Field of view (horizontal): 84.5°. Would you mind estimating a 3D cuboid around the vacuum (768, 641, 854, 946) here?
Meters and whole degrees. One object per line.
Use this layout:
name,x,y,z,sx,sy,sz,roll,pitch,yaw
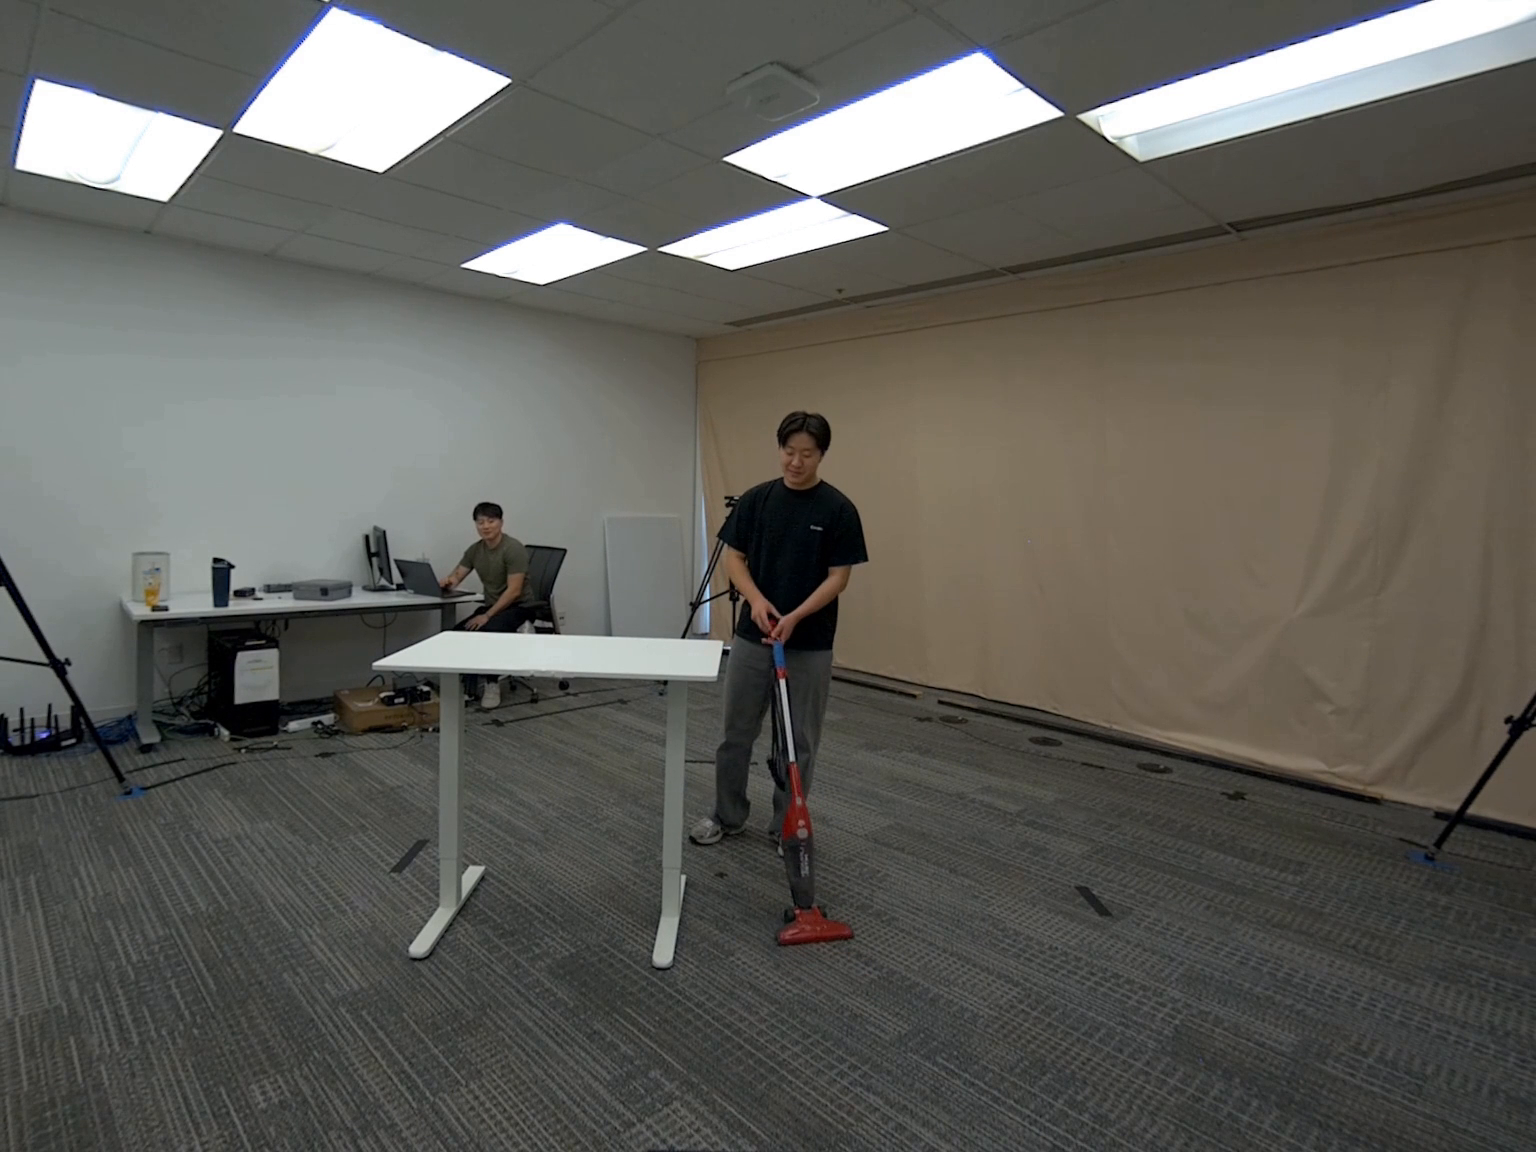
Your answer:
vacuum,0.072,0.666,2.933,0.249,1.071,0.143,1,-28,-18
